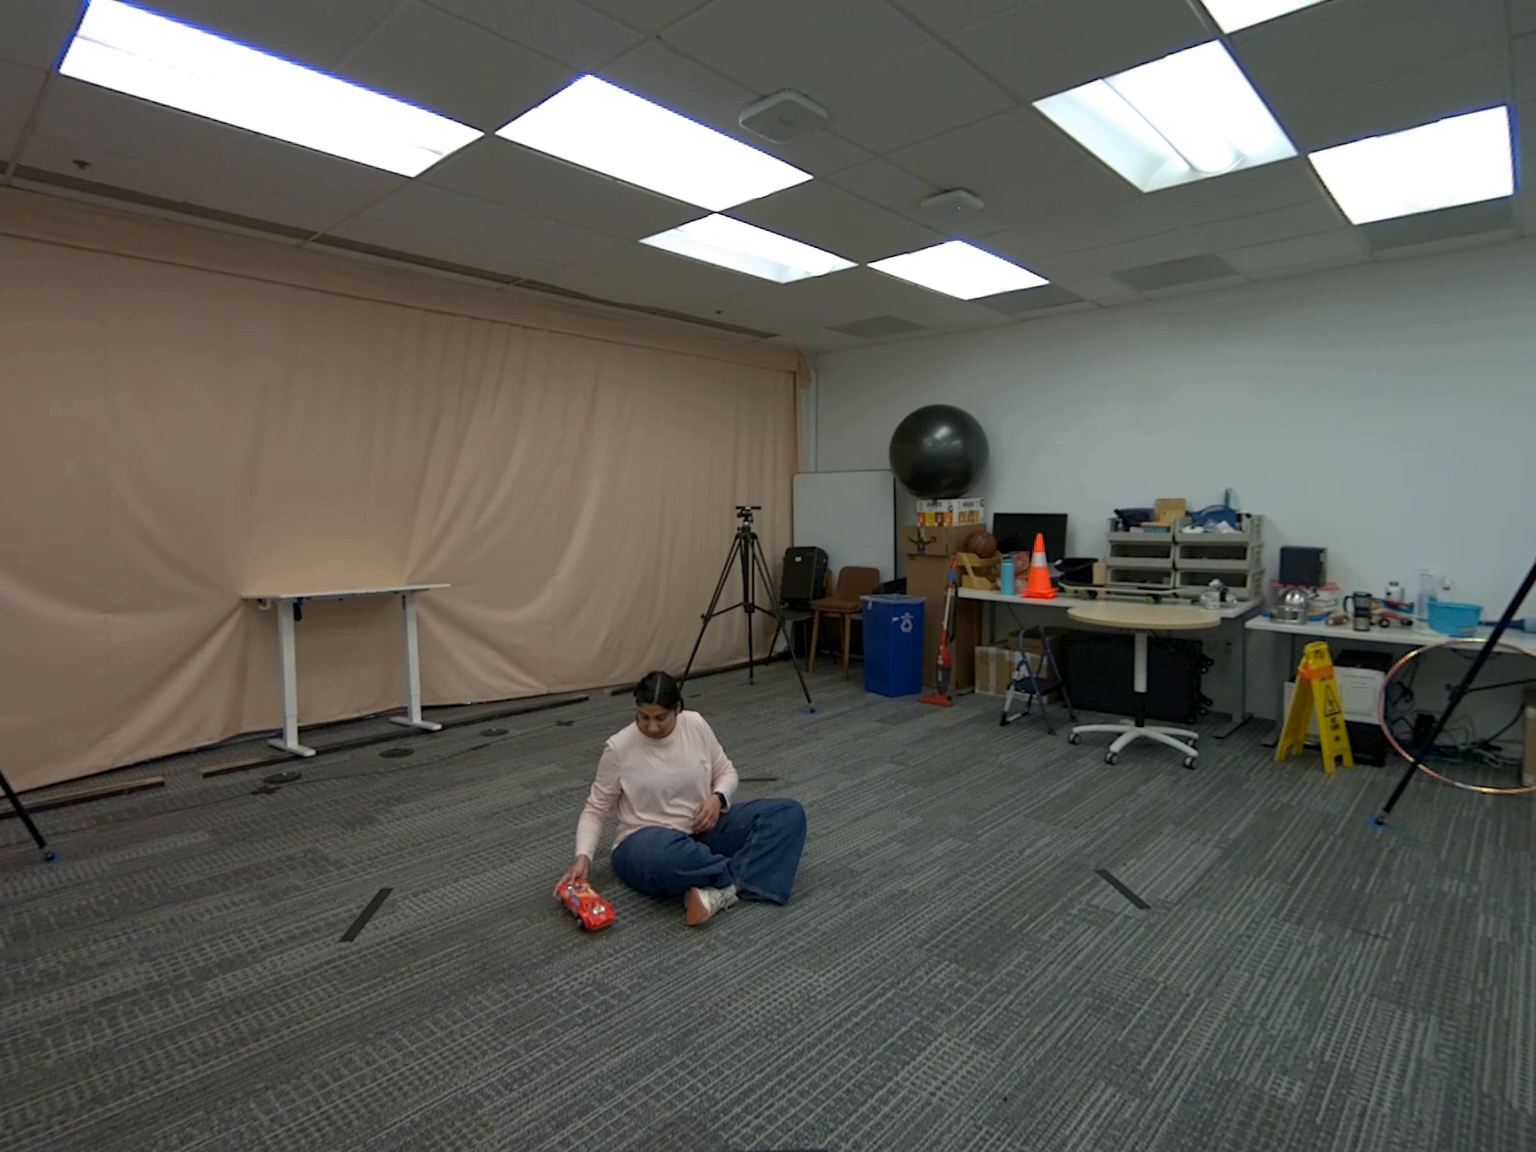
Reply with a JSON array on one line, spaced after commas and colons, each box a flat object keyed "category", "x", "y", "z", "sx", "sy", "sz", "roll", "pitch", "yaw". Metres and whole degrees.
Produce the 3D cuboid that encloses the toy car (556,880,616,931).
[{"category": "toy car", "x": -0.603, "y": 1.105, "z": 2.833, "sx": 0.127, "sy": 0.083, "sz": 0.263, "roll": -9, "pitch": 10, "yaw": -39}]
